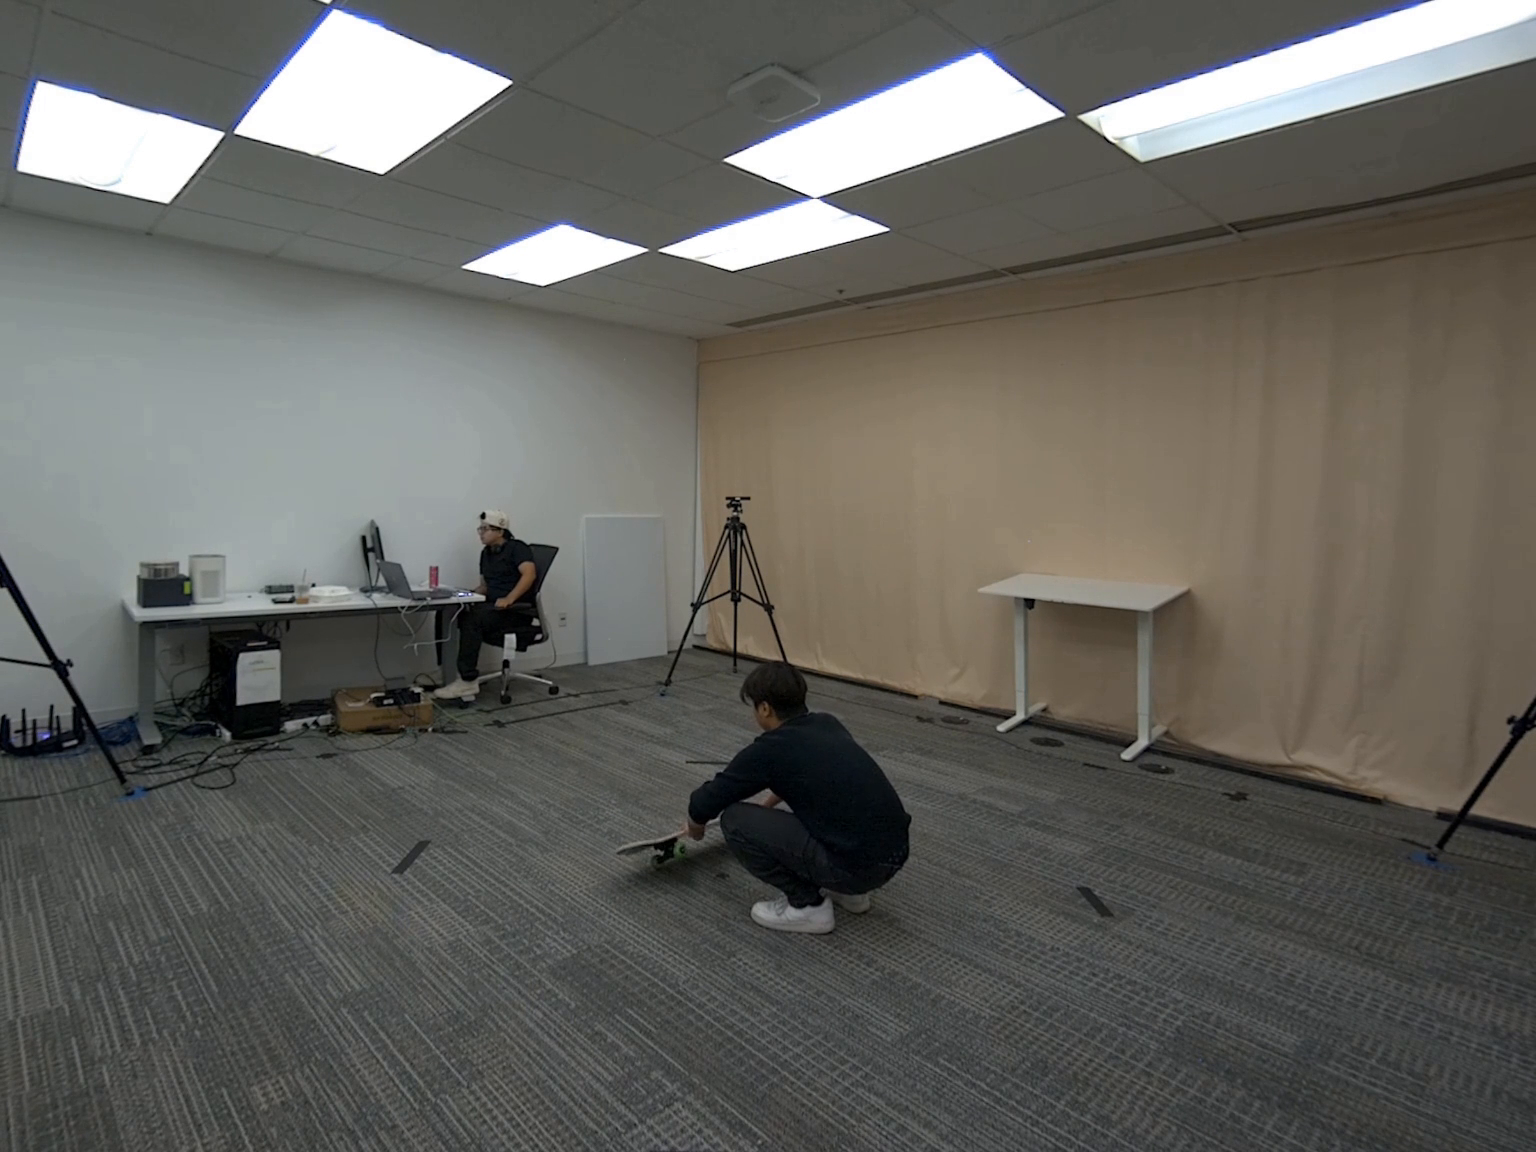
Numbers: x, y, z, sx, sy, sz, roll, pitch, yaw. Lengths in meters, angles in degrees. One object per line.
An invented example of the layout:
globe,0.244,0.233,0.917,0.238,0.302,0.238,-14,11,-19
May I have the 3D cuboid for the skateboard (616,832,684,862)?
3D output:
skateboard,-0.239,0.995,3.248,0.768,0.112,0.194,-4,-24,-43
